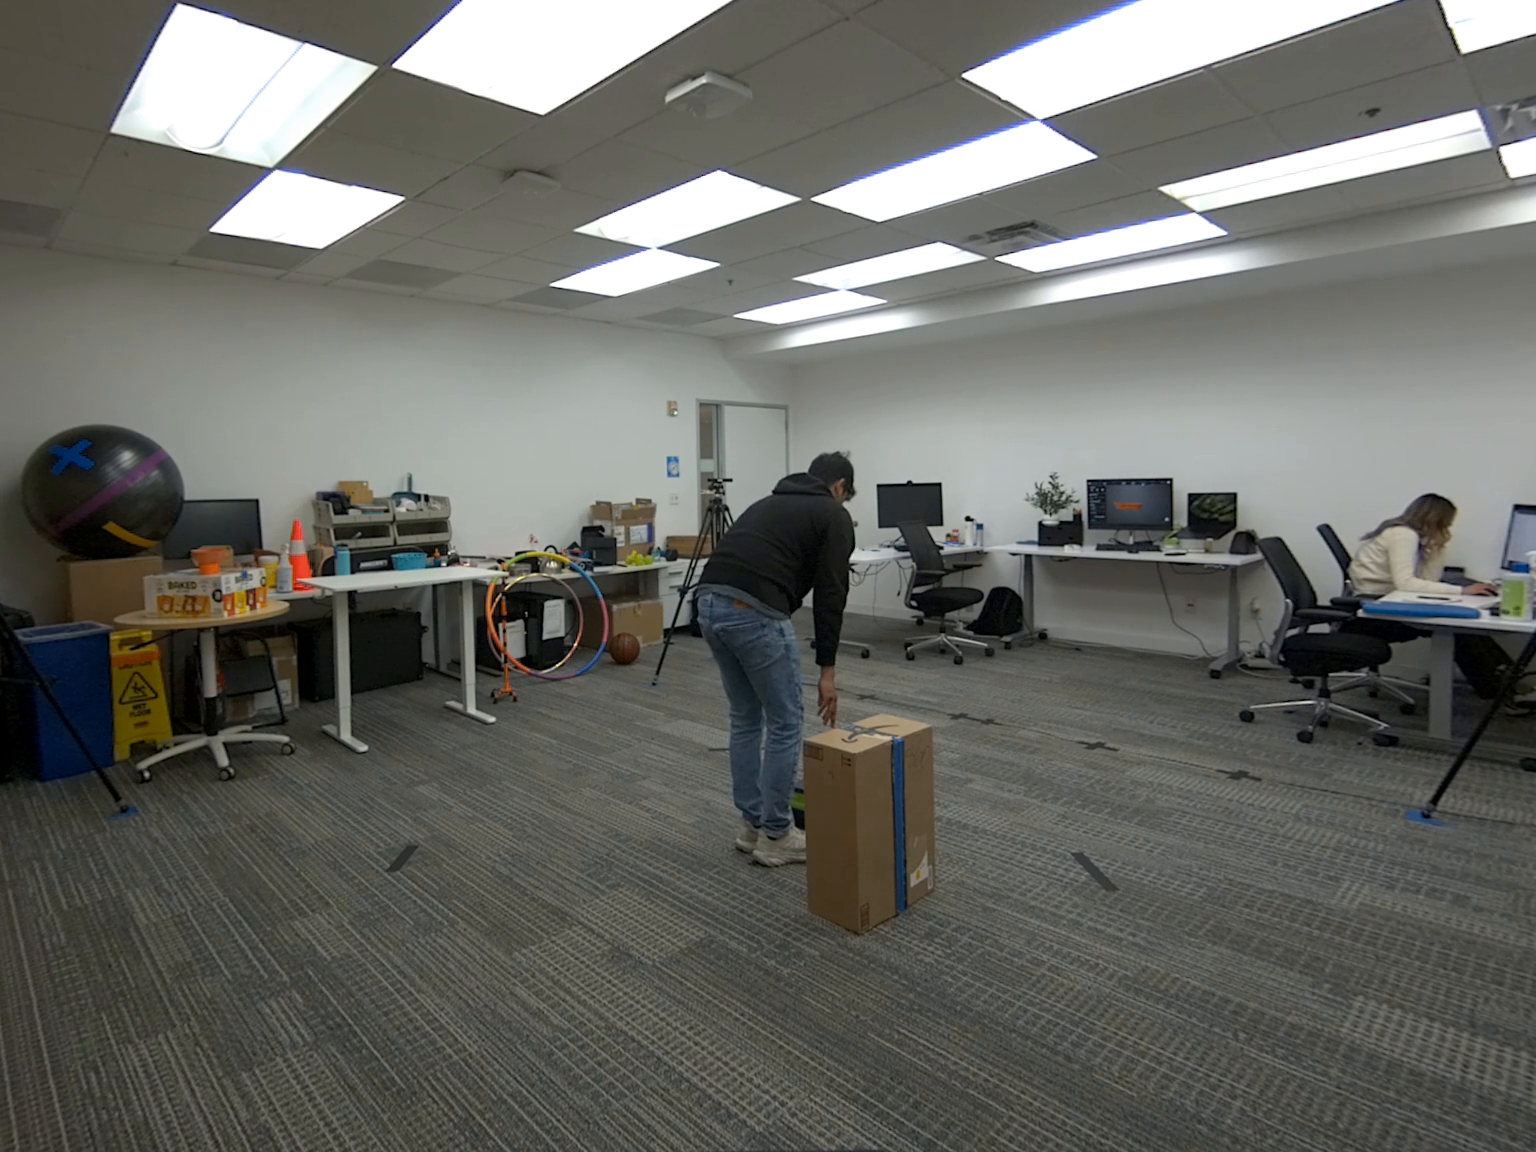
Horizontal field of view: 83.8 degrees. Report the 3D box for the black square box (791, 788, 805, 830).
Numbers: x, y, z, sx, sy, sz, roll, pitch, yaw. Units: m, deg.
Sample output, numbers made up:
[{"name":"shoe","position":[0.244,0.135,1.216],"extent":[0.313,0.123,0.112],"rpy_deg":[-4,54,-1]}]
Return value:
[{"name":"black square box","position":[0.248,0.916,3.462],"extent":[0.235,0.155,0.211],"rpy_deg":[4,7,40]}]
